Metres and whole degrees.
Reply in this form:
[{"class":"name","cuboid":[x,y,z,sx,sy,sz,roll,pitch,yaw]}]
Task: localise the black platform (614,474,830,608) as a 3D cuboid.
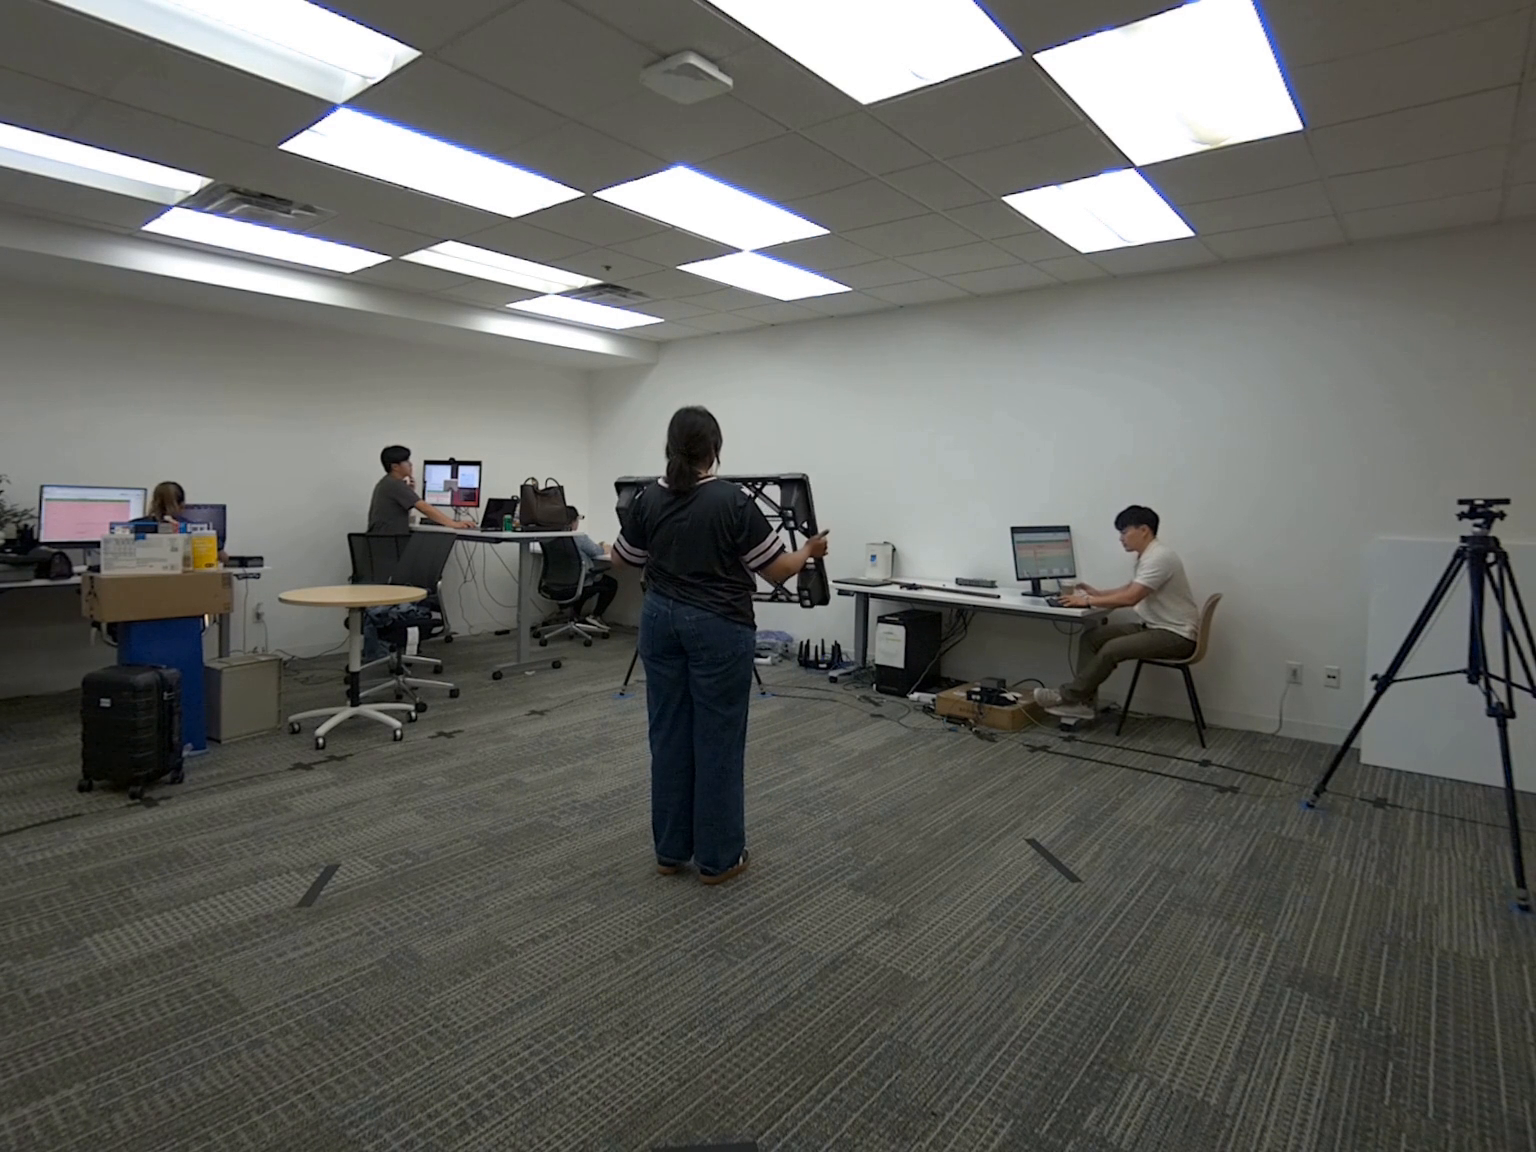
[{"class":"black platform","cuboid":[-0.201,-0.113,3.361,0.824,0.586,0.145,2,35,22]}]
